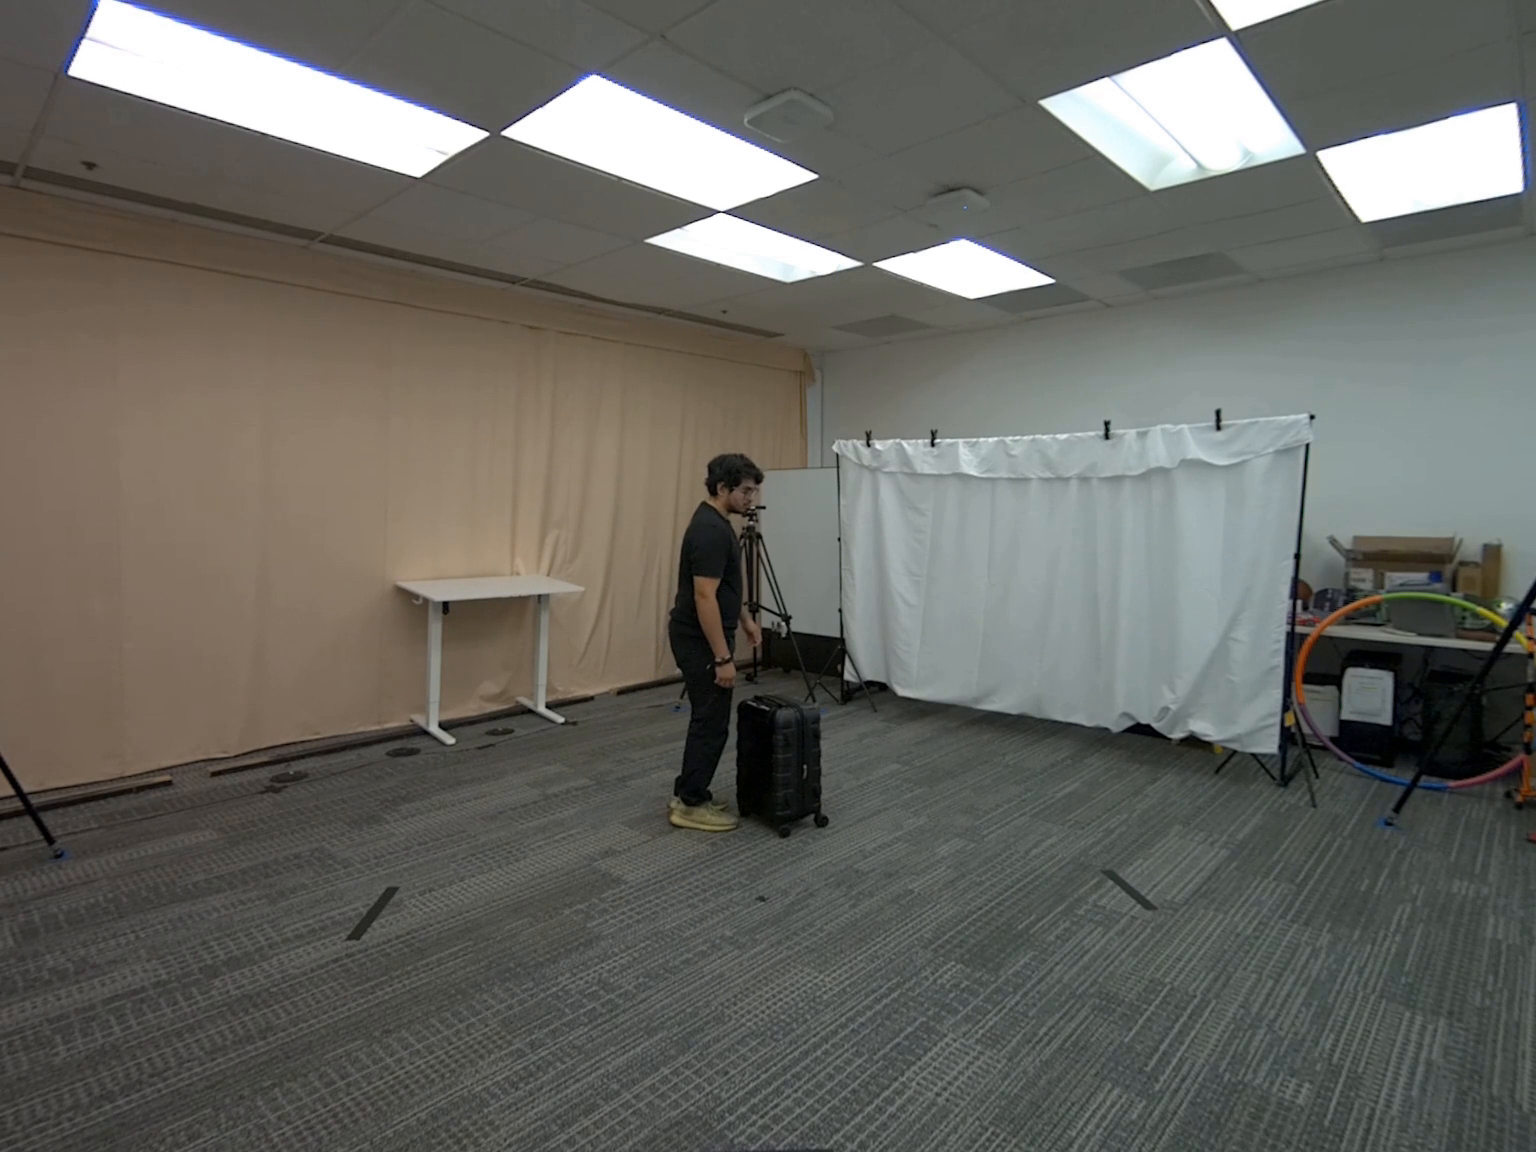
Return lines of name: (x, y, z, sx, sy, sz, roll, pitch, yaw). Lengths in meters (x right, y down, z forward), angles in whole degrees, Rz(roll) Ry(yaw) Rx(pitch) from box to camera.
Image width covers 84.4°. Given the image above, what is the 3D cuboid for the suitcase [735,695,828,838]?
suitcase: (0.049, 0.809, 3.714, 0.241, 0.548, 0.387, -3, 3, -36)
